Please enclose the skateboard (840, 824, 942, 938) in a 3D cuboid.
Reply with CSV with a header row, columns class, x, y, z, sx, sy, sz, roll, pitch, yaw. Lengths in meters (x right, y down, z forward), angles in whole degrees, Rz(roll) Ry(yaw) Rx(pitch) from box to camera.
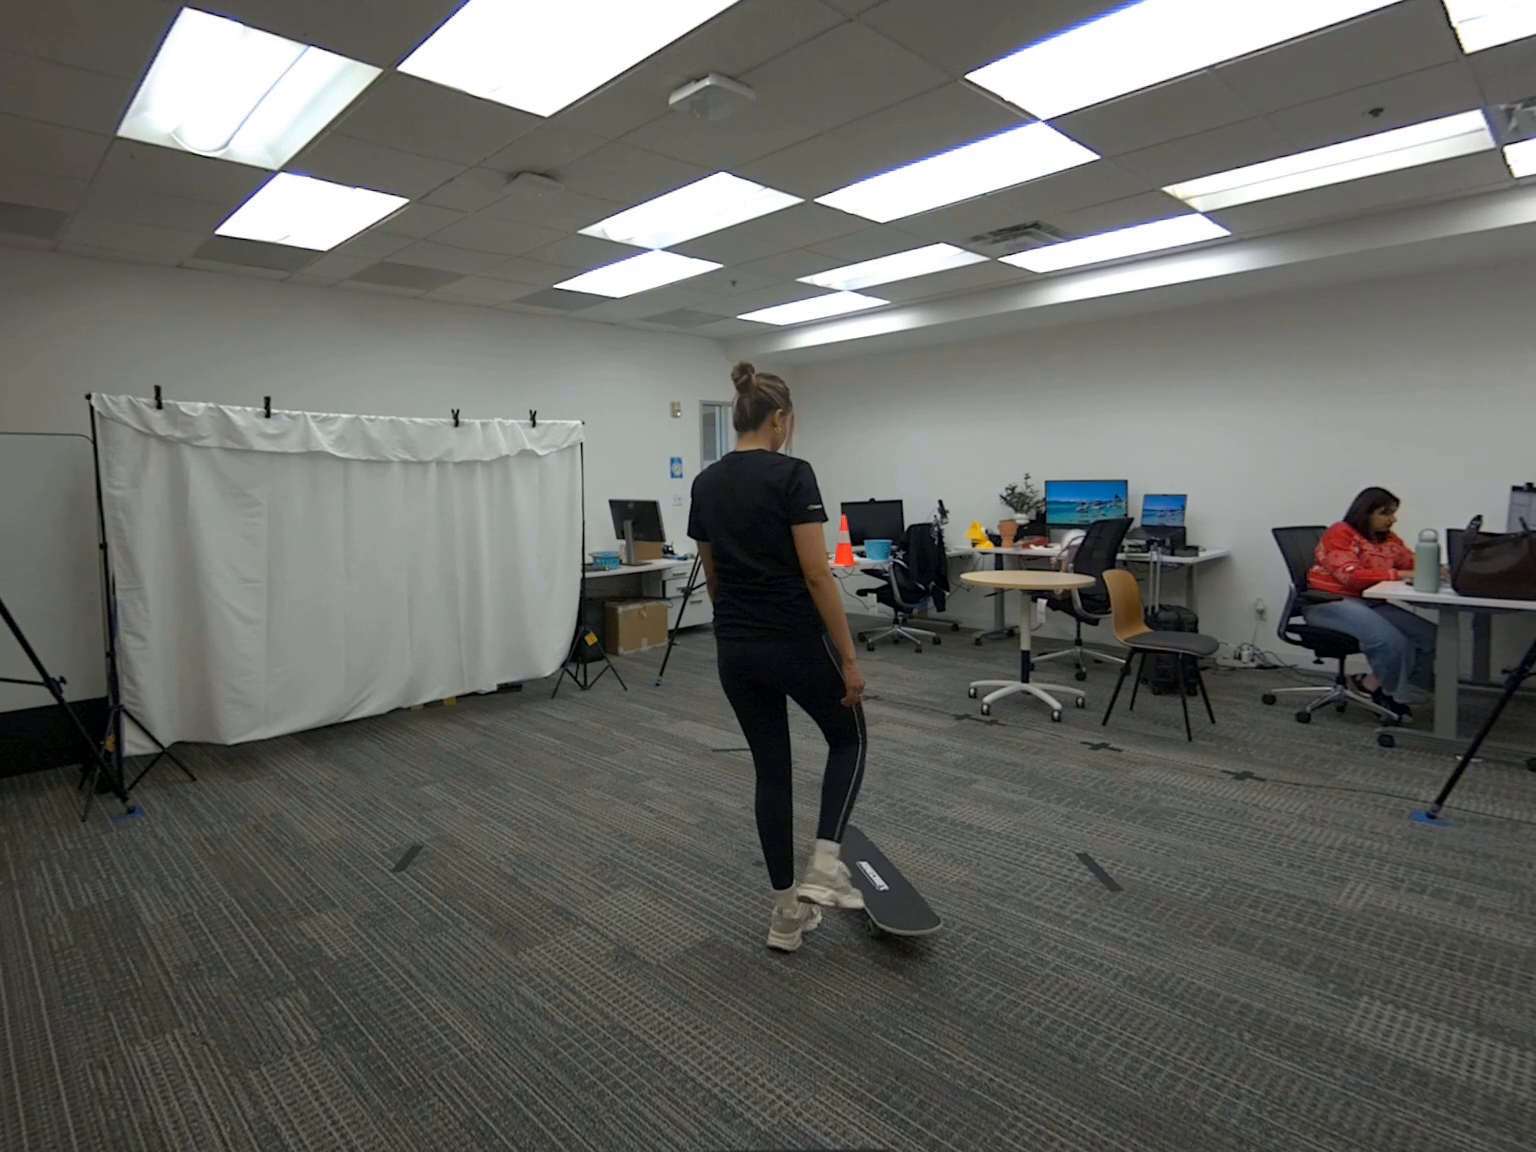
class,x,y,z,sx,sy,sz,roll,pitch,yaw
skateboard,0.354,1.018,2.814,0.191,0.110,0.798,-3,6,-14
